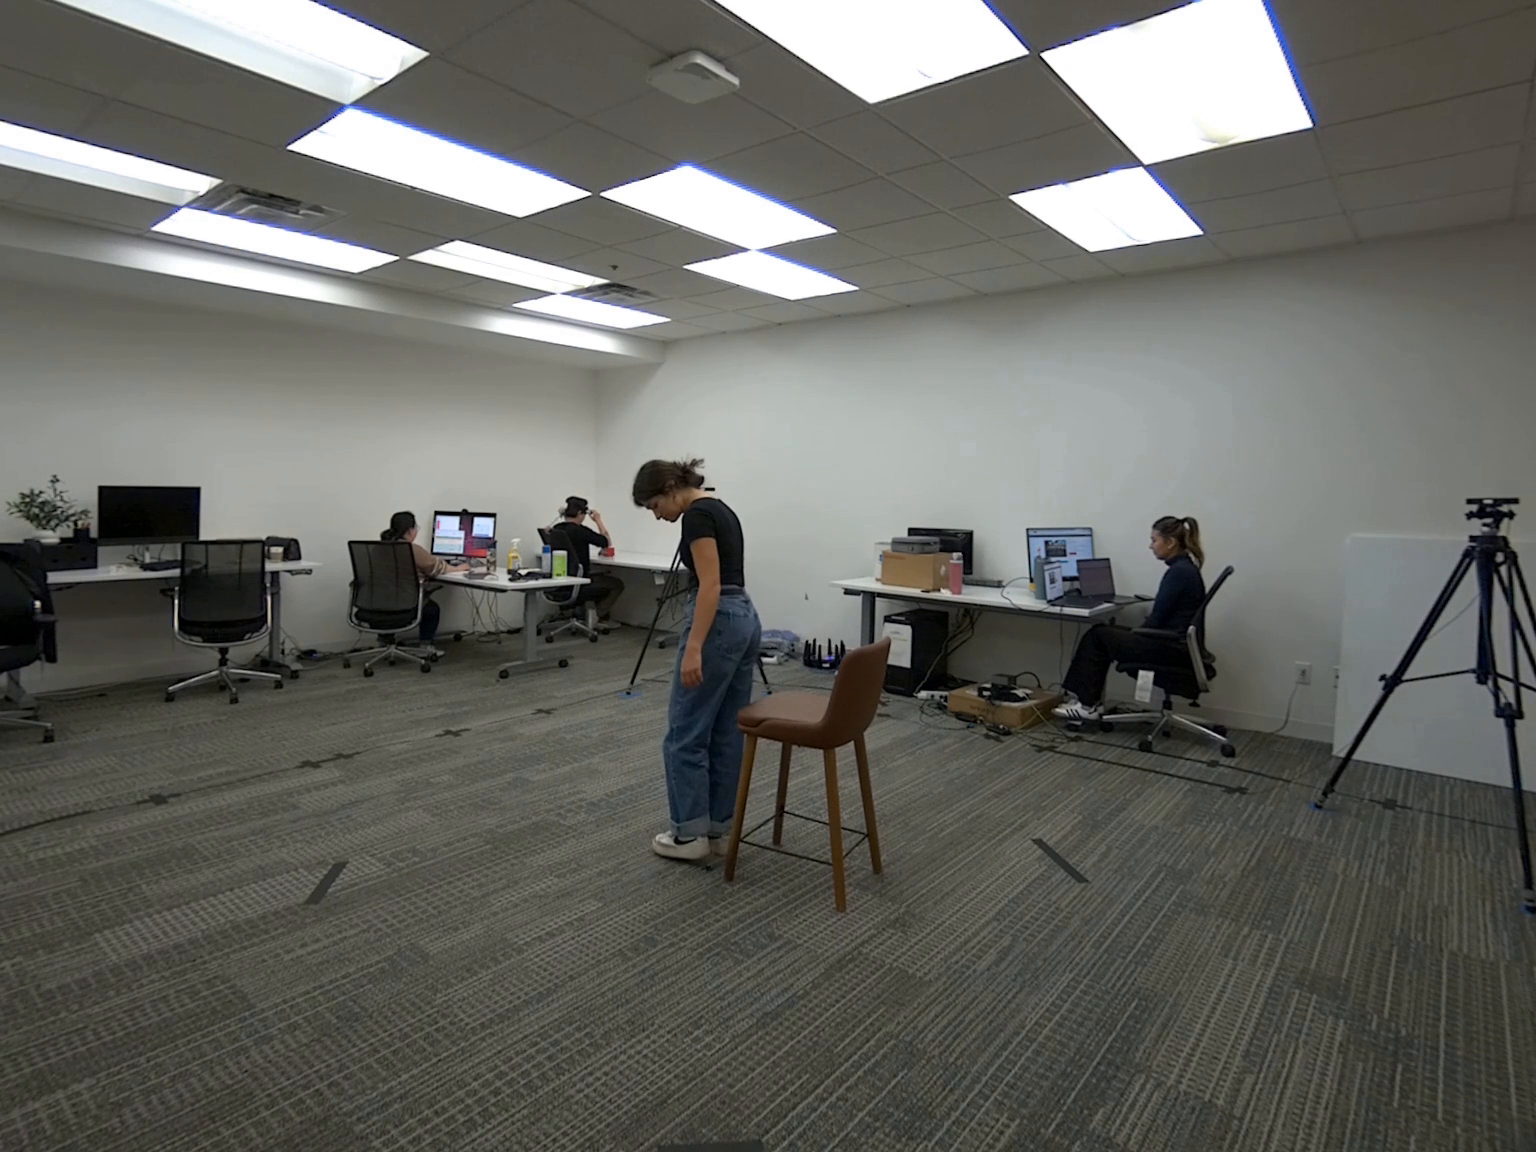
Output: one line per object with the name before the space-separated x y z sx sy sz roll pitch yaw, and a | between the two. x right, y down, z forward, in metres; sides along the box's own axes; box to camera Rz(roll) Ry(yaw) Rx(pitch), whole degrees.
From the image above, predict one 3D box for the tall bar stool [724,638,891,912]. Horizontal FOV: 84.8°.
tall bar stool | 0.144 0.645 3.047 0.482 0.886 0.445 5 5 29
